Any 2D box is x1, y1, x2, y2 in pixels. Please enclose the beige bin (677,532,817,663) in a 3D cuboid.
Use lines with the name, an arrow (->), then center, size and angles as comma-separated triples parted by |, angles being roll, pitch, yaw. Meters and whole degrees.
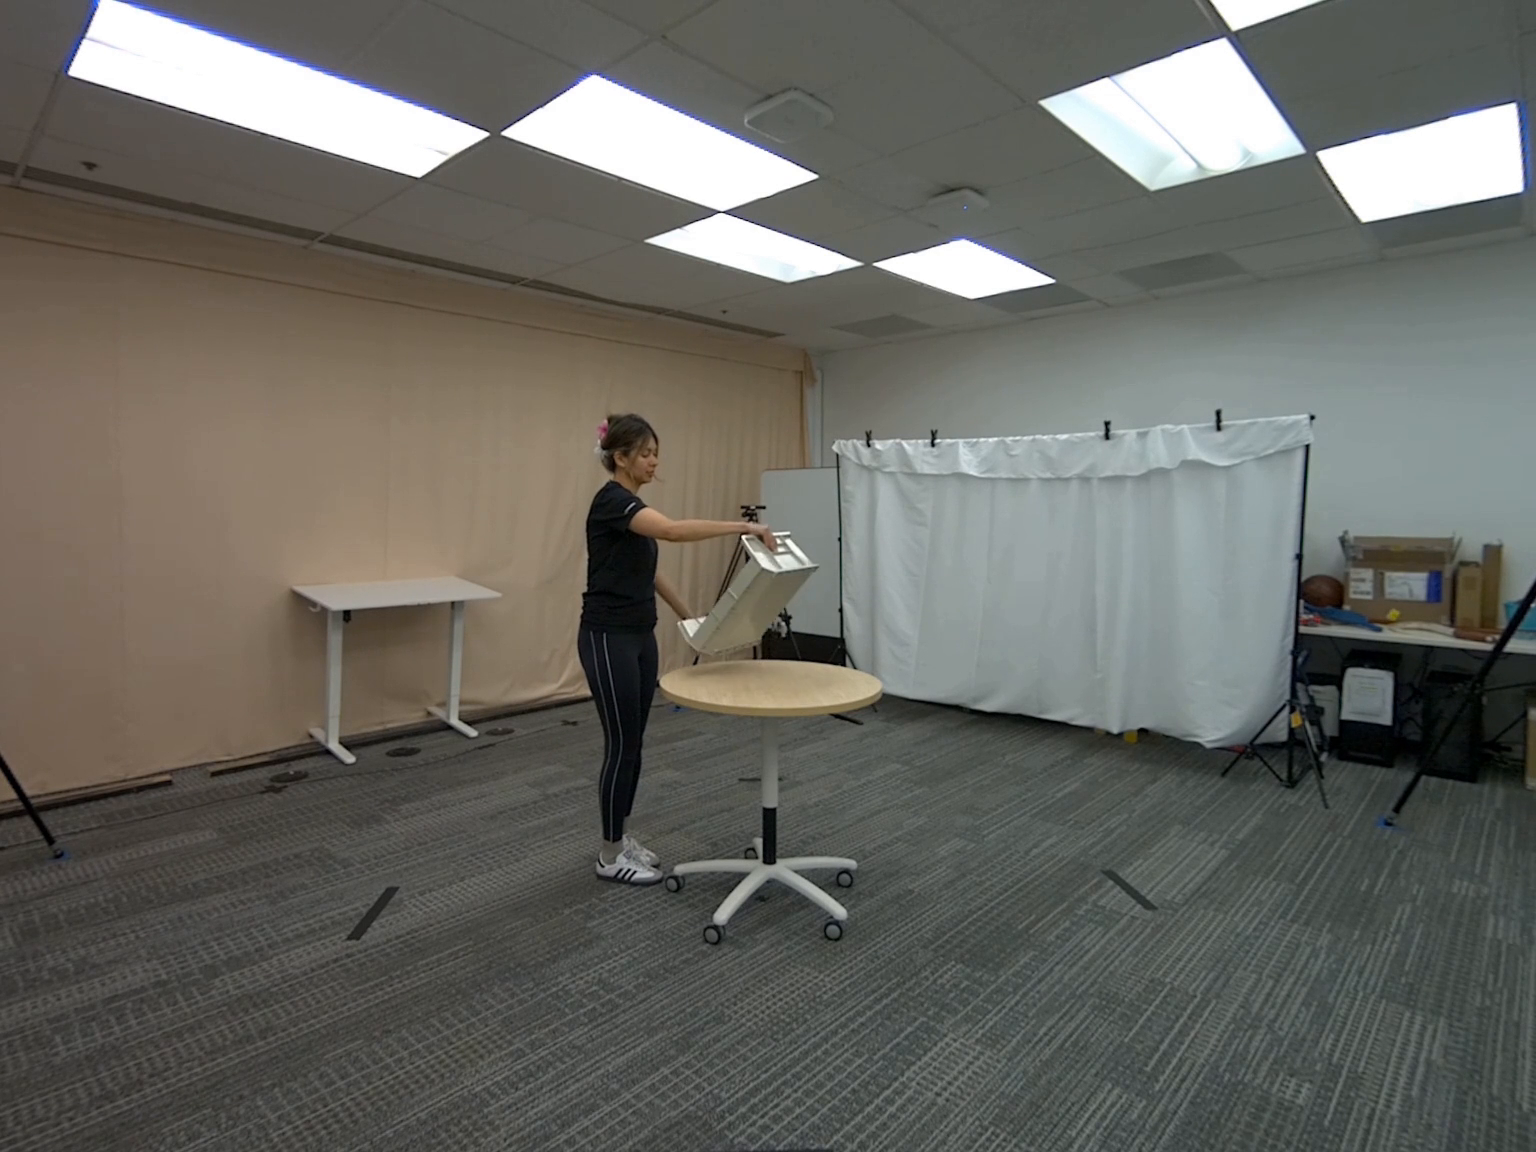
beige bin -> -0.066, 0.065, 3.015 | 0.194, 0.423, 0.367 | 47, 25, 22
